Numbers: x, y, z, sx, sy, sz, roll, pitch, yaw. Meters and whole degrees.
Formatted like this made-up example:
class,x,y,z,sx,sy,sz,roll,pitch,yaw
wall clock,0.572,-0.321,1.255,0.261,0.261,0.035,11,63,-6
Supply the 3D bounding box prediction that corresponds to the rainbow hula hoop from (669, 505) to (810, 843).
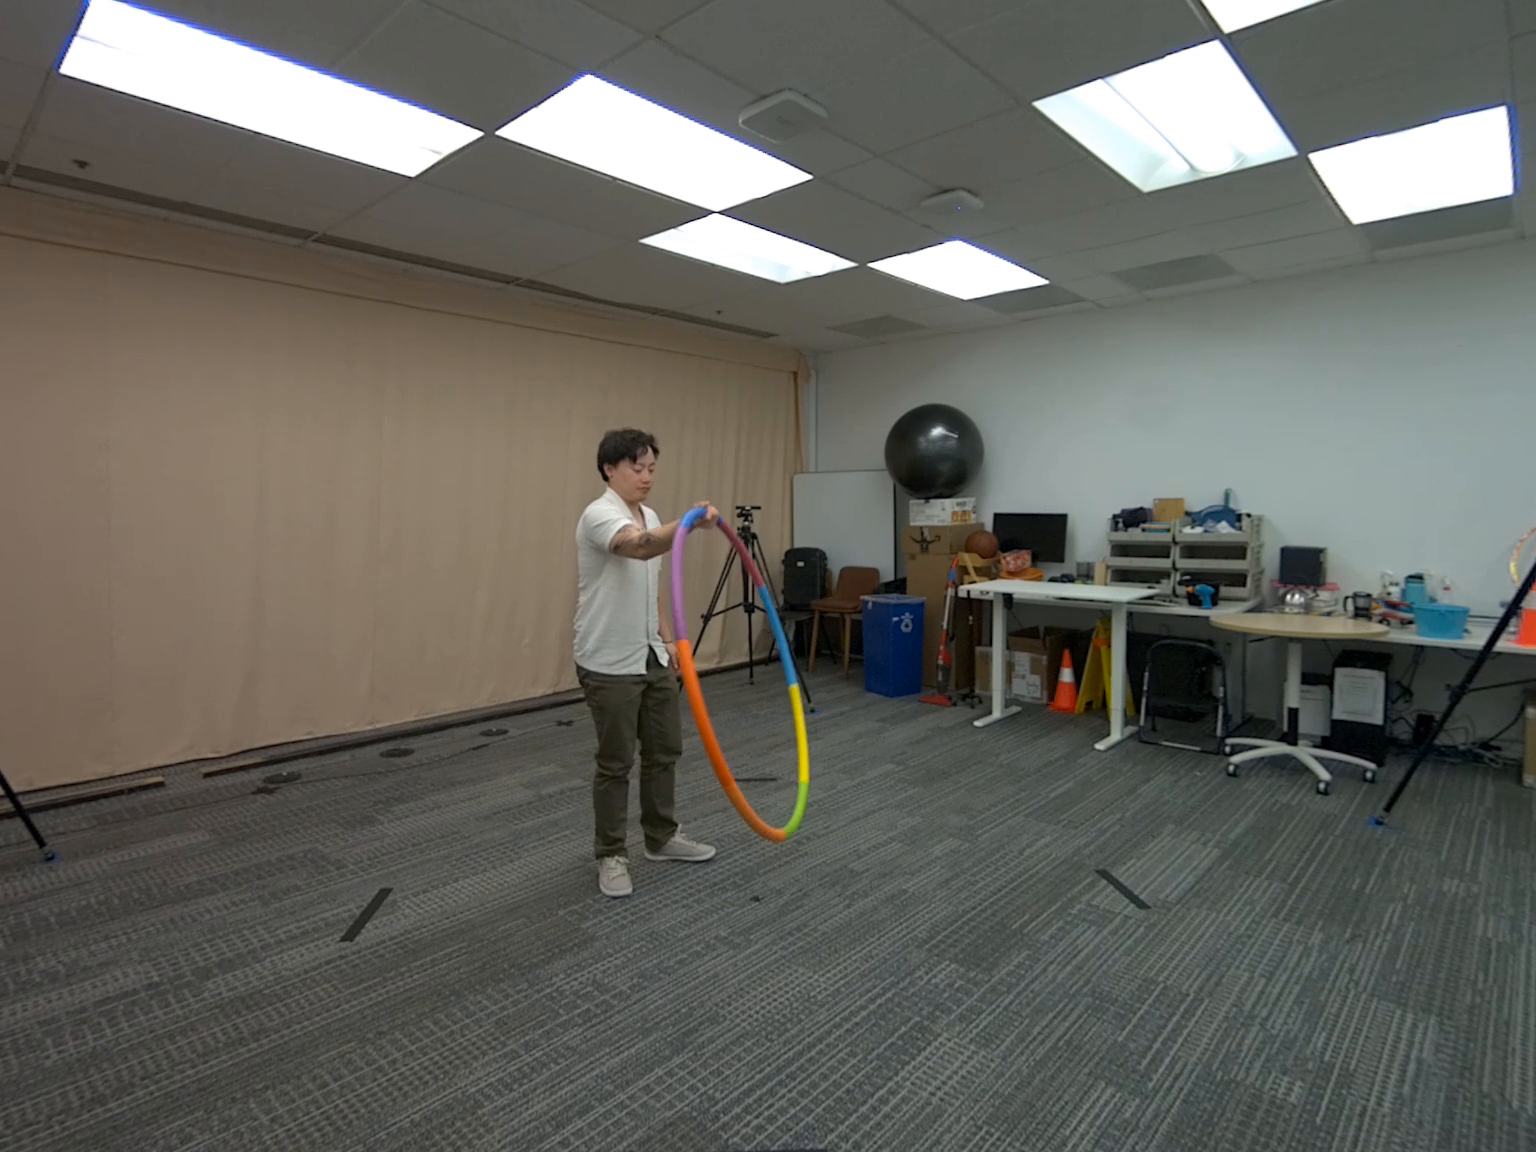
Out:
class,x,y,z,sx,sy,sz,roll,pitch,yaw
rainbow hula hoop,-0.064,0.272,2.491,0.036,0.981,0.964,-18,-1,15
